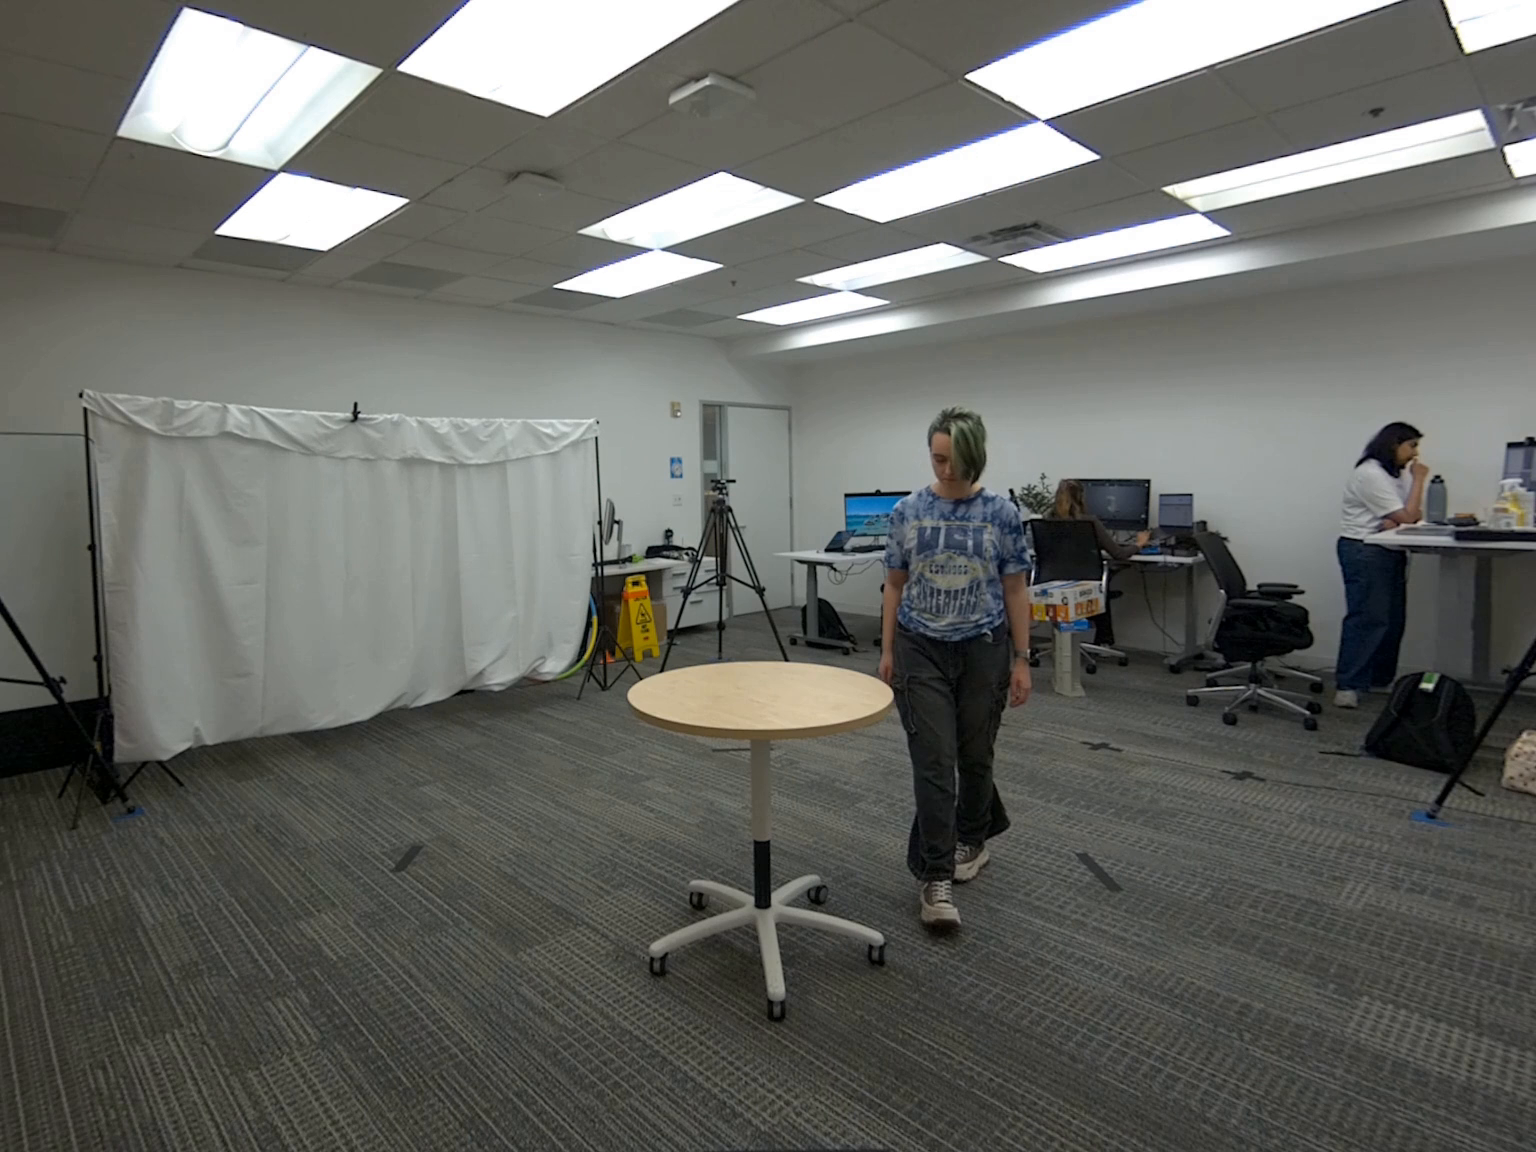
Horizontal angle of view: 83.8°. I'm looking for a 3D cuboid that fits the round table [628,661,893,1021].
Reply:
[{"bbox_3d":[-0.012,0.729,2.506,0.763,0.791,0.768,-1,5,-2],"label":"round table"}]
